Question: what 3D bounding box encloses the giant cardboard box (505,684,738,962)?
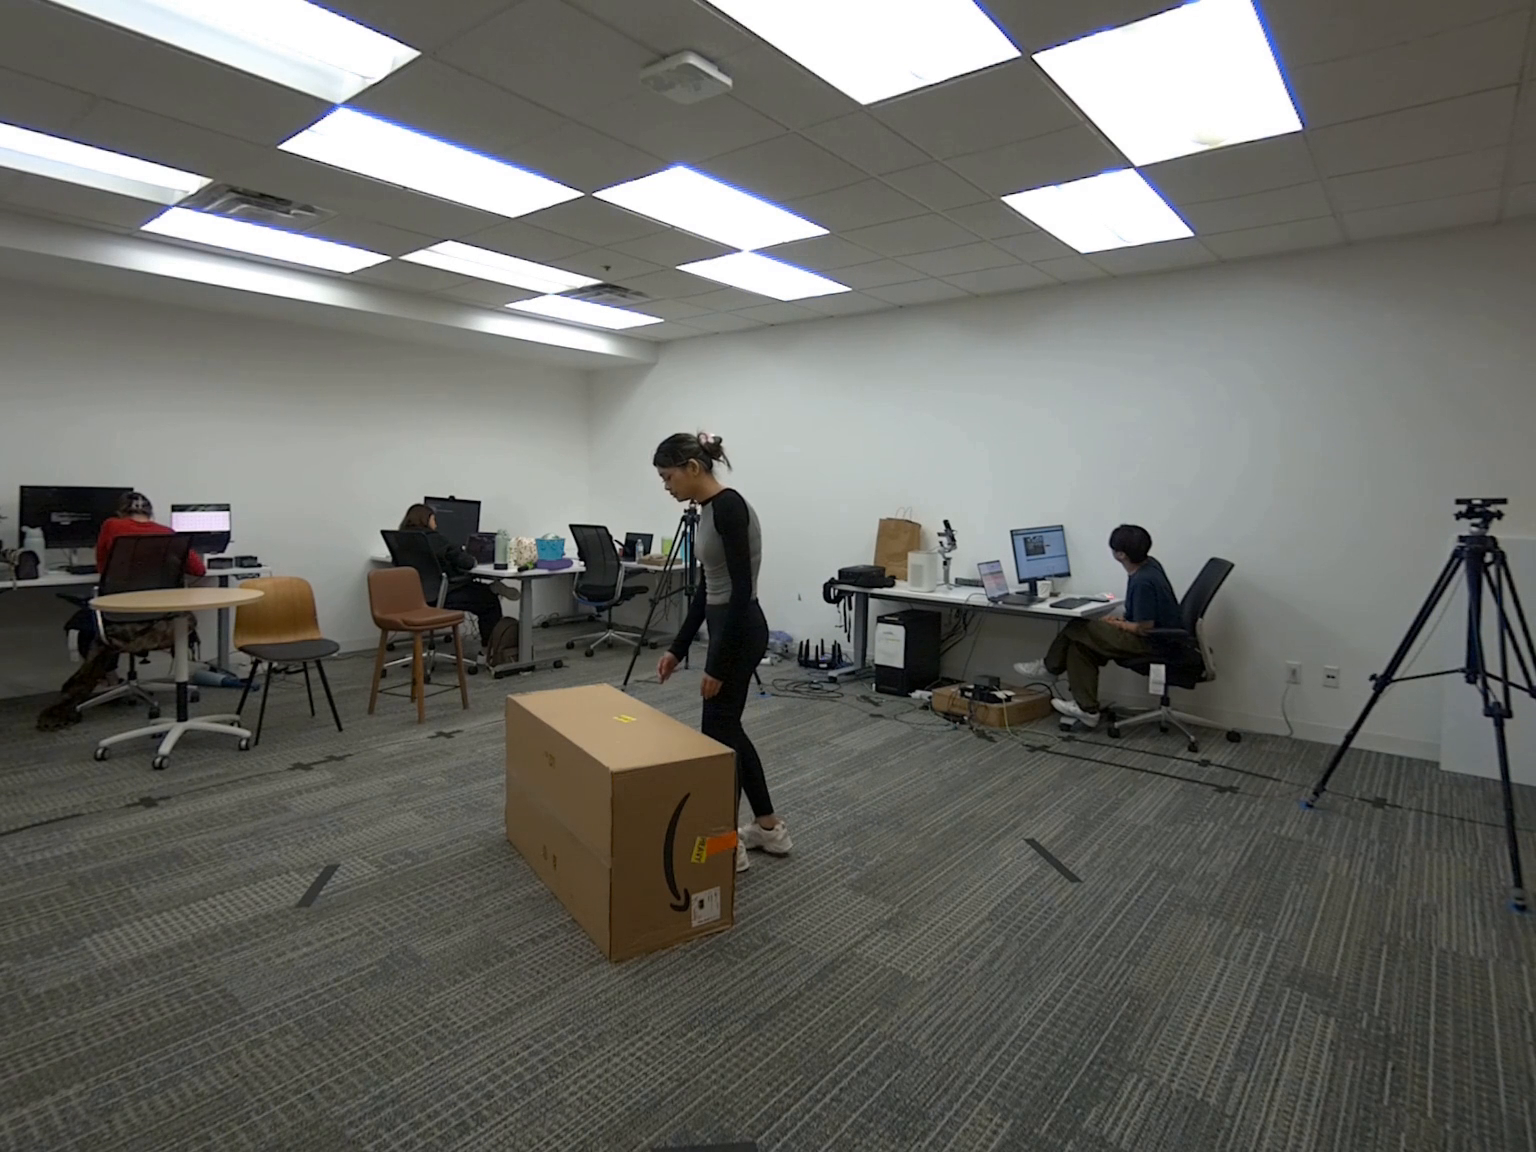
[{"bbox_3d":[-0.574,0.786,2.999,0.414,0.575,1.059,-1,6,-33],"label":"giant cardboard box"}]
